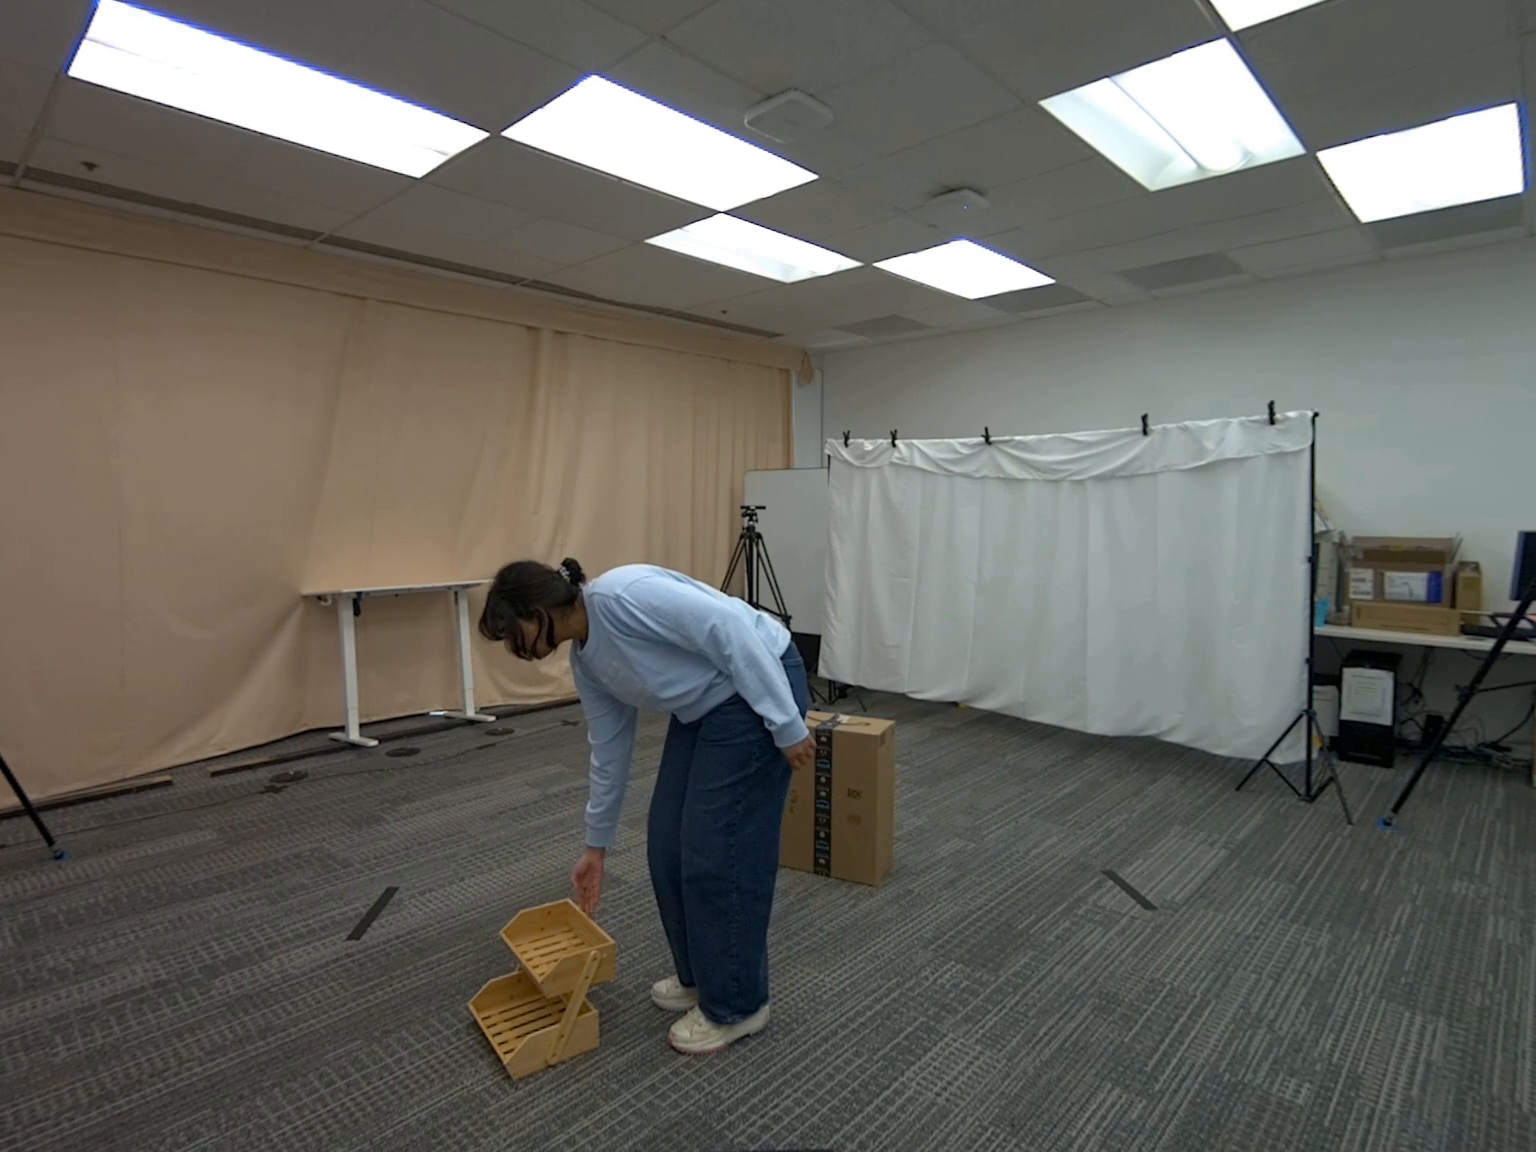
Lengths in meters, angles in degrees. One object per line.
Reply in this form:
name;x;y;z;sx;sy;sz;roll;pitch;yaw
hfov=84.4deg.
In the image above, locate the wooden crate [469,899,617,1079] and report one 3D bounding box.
wooden crate;-0.603;1.081;2.233;0.293;0.273;0.335;-2;4;-36
